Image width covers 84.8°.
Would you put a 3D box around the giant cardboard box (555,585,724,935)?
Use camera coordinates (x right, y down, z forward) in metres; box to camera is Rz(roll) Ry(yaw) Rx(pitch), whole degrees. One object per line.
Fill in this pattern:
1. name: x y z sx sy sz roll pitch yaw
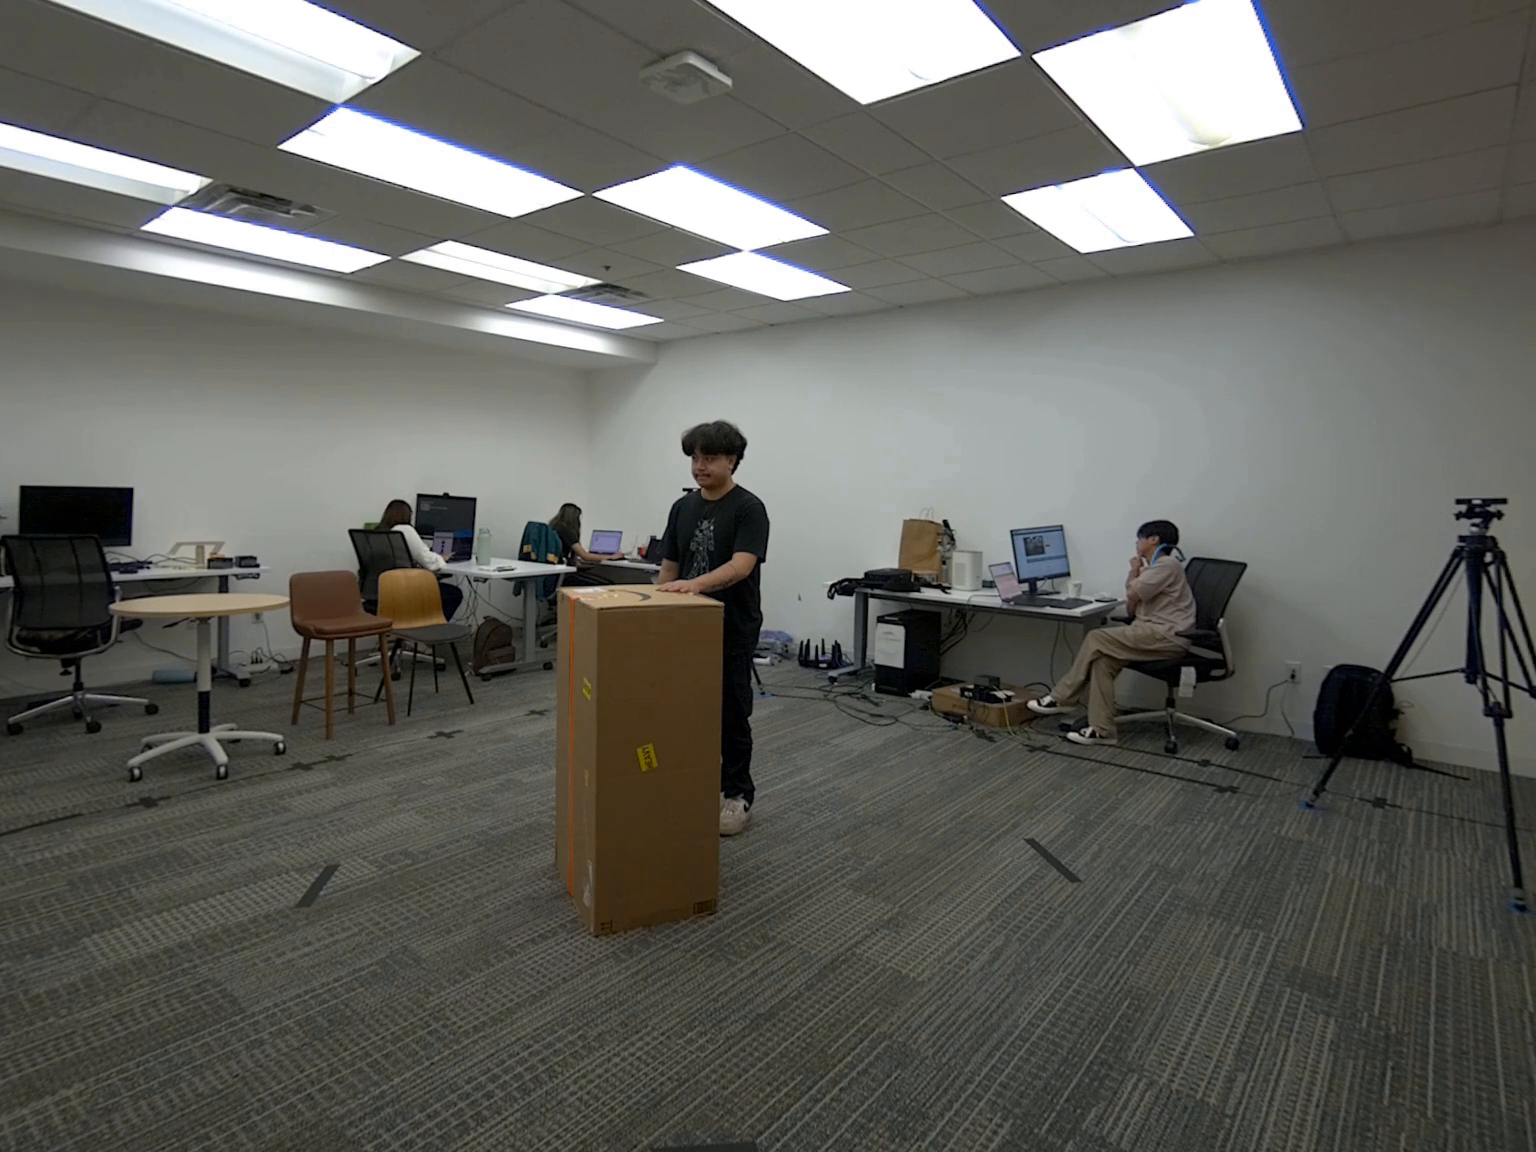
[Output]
1. giant cardboard box: -0.478 0.569 2.940 0.436 1.024 0.599 -1 4 -25
